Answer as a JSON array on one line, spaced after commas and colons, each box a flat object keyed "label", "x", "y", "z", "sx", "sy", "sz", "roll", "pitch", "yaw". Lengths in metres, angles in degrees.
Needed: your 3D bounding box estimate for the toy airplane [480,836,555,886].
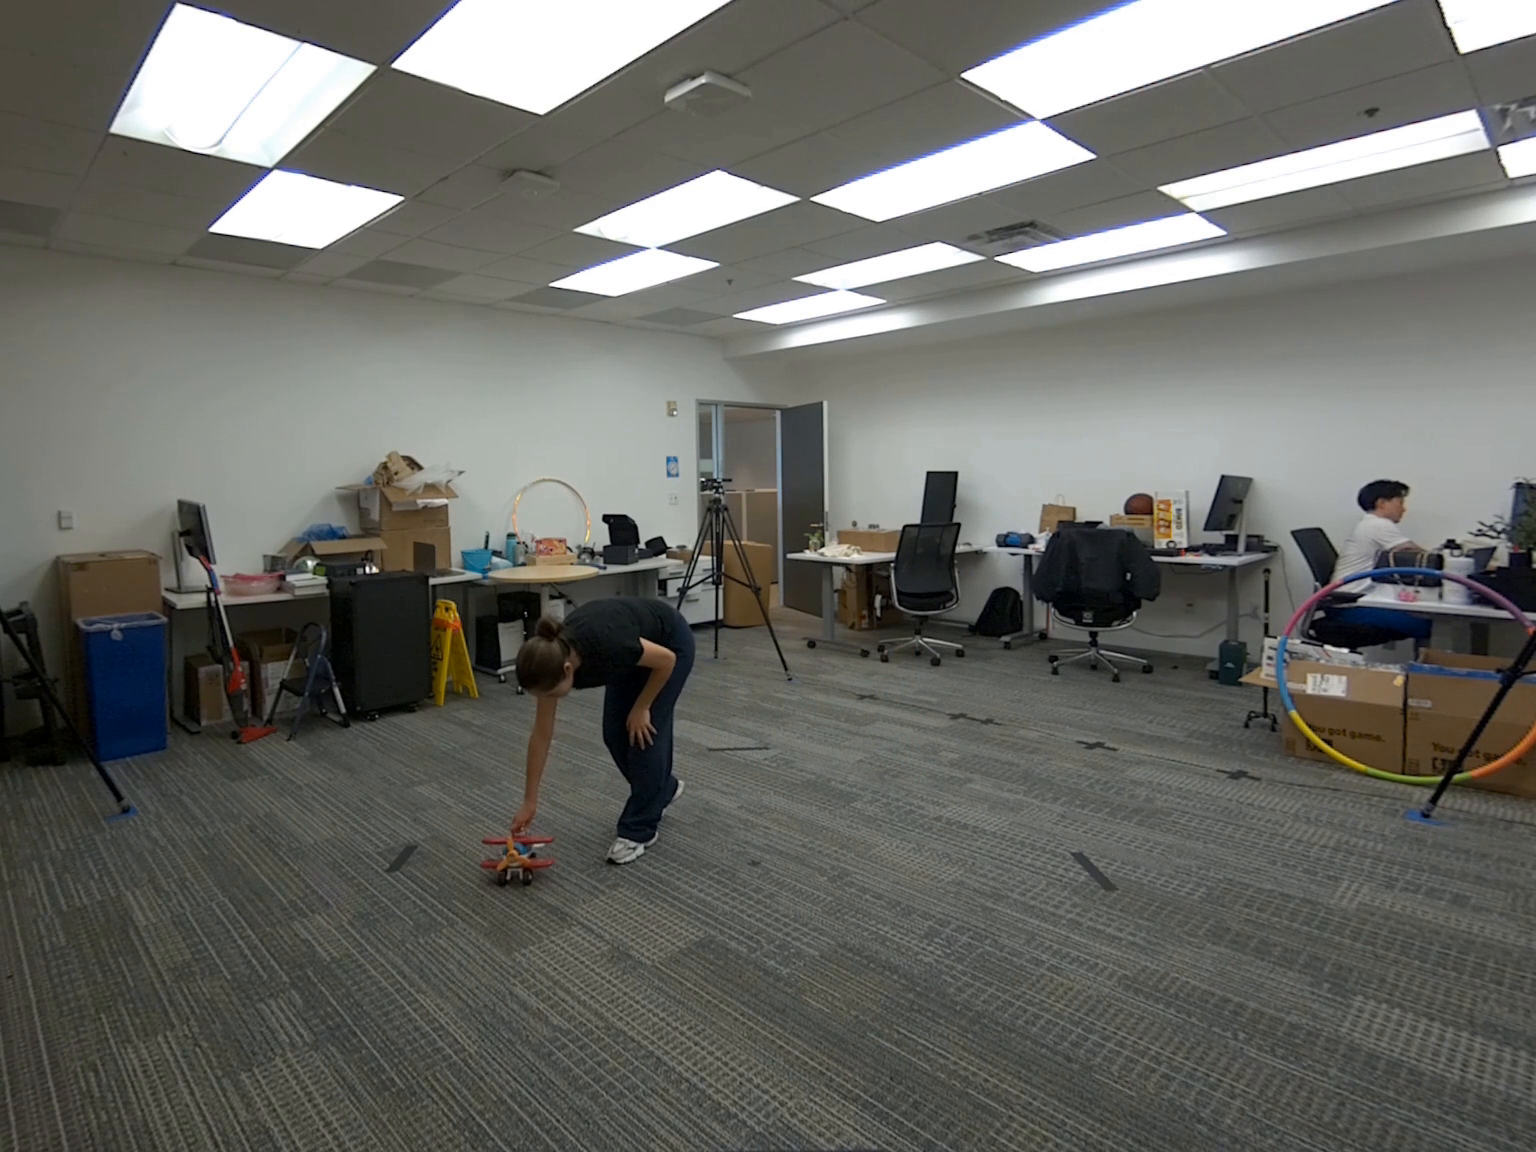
[{"label": "toy airplane", "x": -0.901, "y": 0.993, "z": 3.067, "sx": 0.245, "sy": 0.156, "sz": 0.266, "roll": -4, "pitch": 6, "yaw": -30}]
